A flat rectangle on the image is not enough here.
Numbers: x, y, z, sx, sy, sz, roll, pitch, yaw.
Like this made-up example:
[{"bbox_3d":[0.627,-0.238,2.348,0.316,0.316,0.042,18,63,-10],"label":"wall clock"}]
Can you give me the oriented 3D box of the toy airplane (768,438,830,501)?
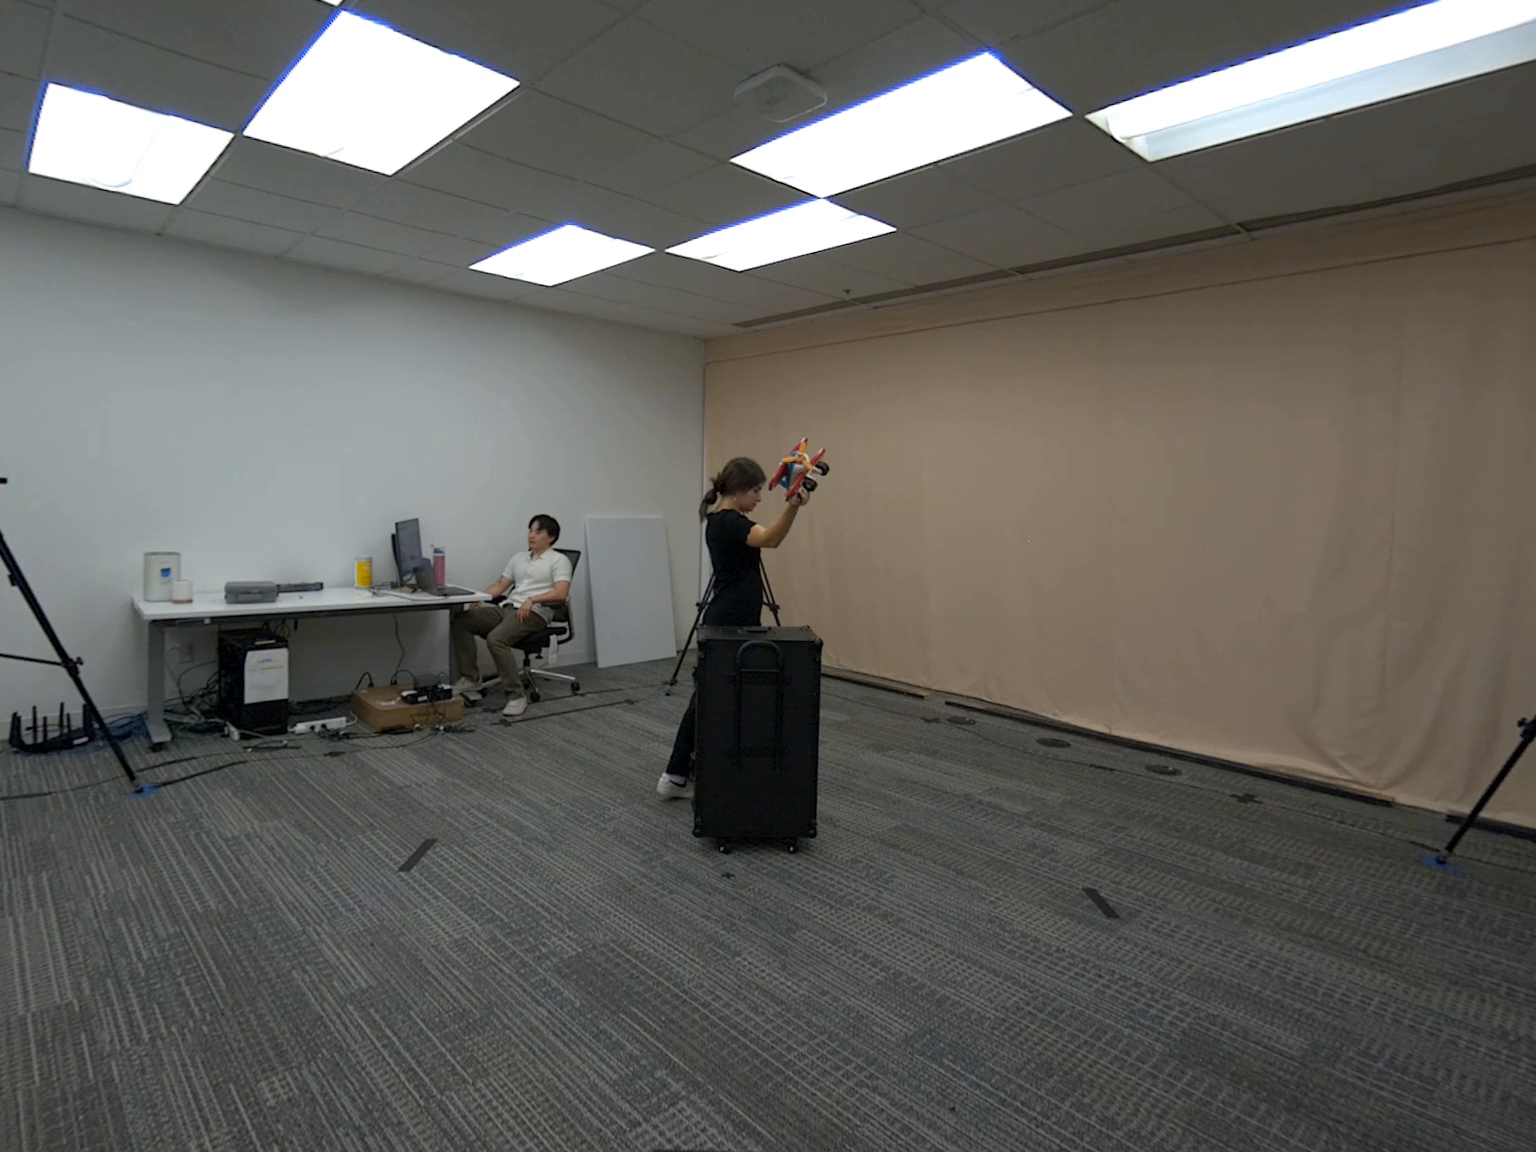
[{"bbox_3d":[0.098,-0.368,3.174,0.156,0.259,0.252,39,39,-2],"label":"toy airplane"}]
